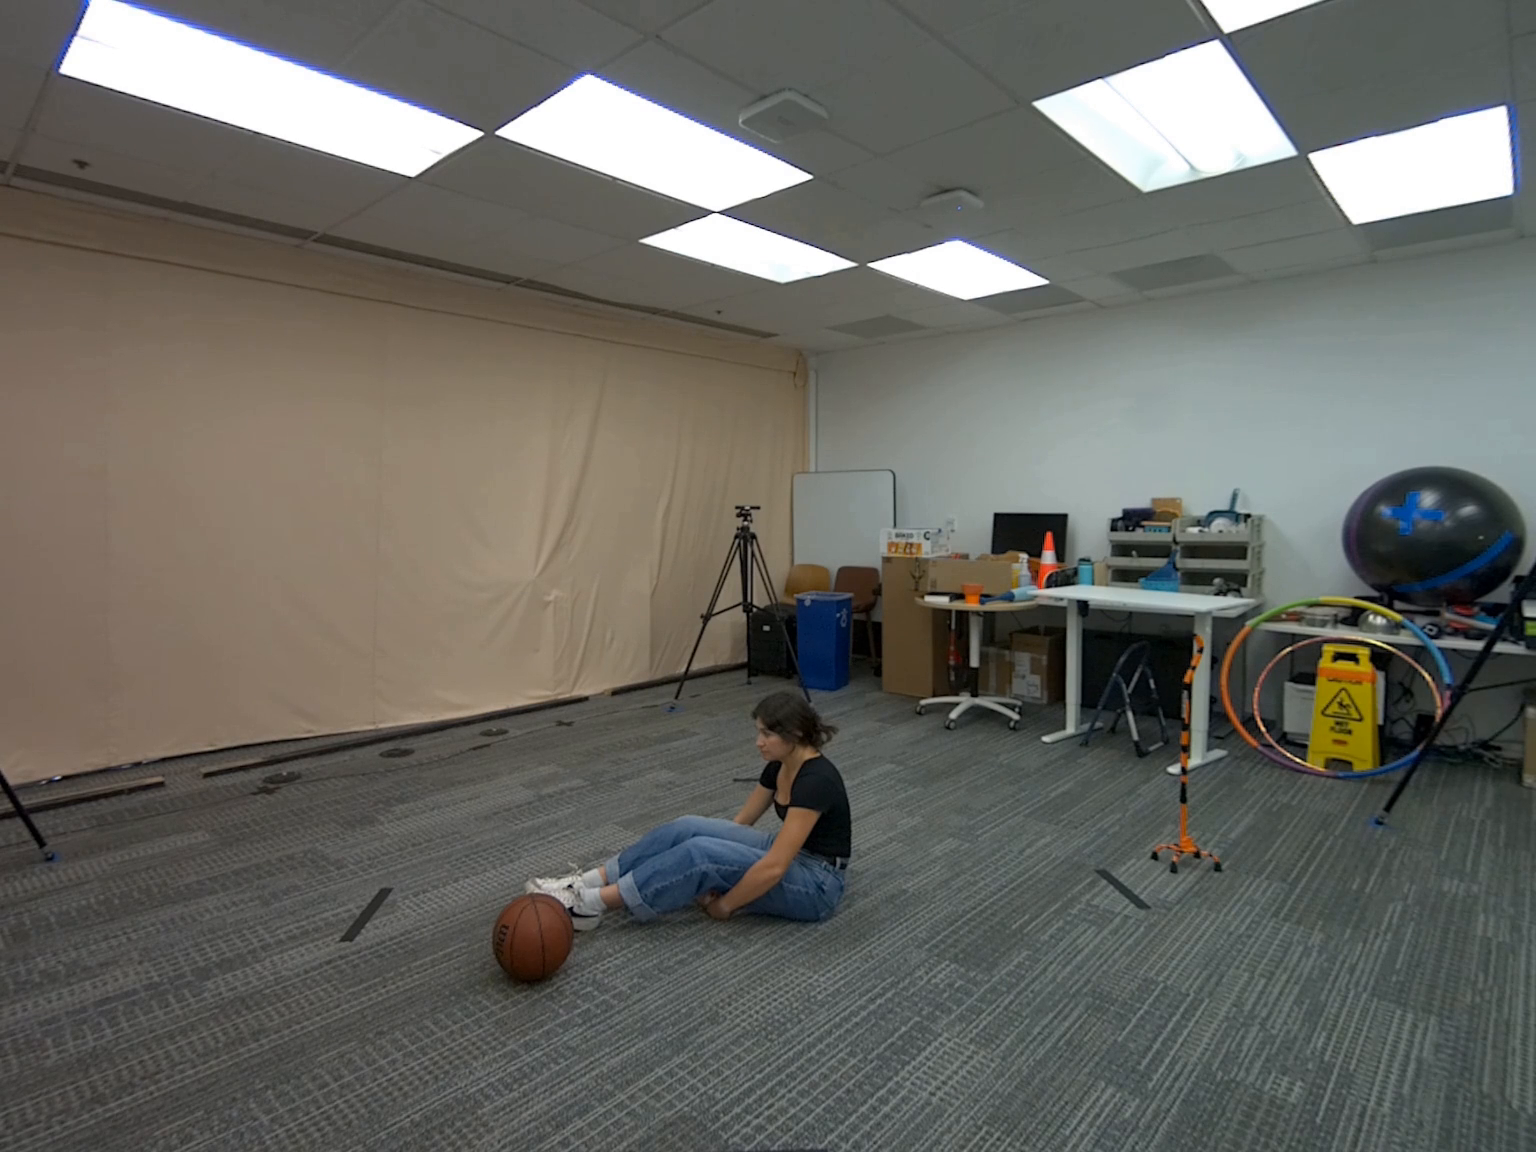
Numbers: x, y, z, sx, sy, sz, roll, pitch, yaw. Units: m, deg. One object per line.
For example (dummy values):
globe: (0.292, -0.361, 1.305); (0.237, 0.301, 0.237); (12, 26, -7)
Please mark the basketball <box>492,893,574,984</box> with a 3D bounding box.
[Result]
basketball: (-0.699, 1.068, 2.499); (0.236, 0.235, 0.237); (0, 4, -2)
